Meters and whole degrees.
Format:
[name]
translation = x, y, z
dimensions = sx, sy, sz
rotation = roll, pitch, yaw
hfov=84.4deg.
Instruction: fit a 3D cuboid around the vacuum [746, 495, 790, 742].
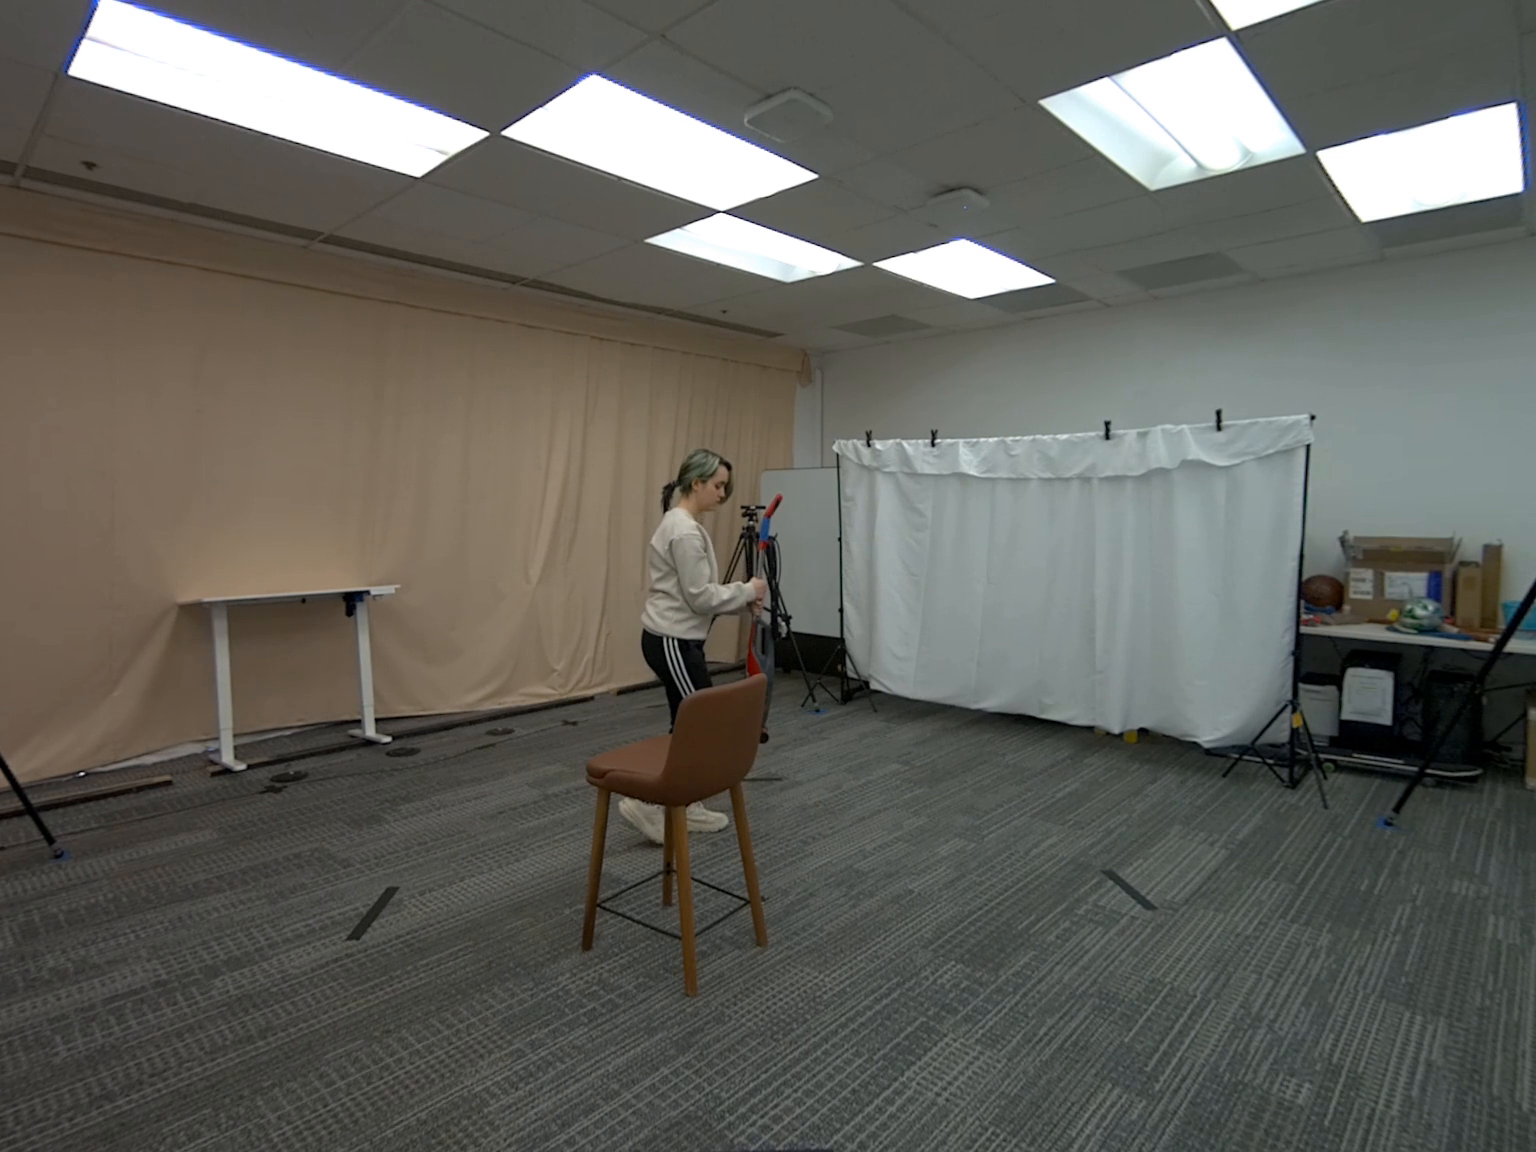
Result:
[vacuum]
translation = -0.001, 0.182, 3.543
dimensions = 0.142, 1.048, 0.257
rotation = 7, 3, -15
